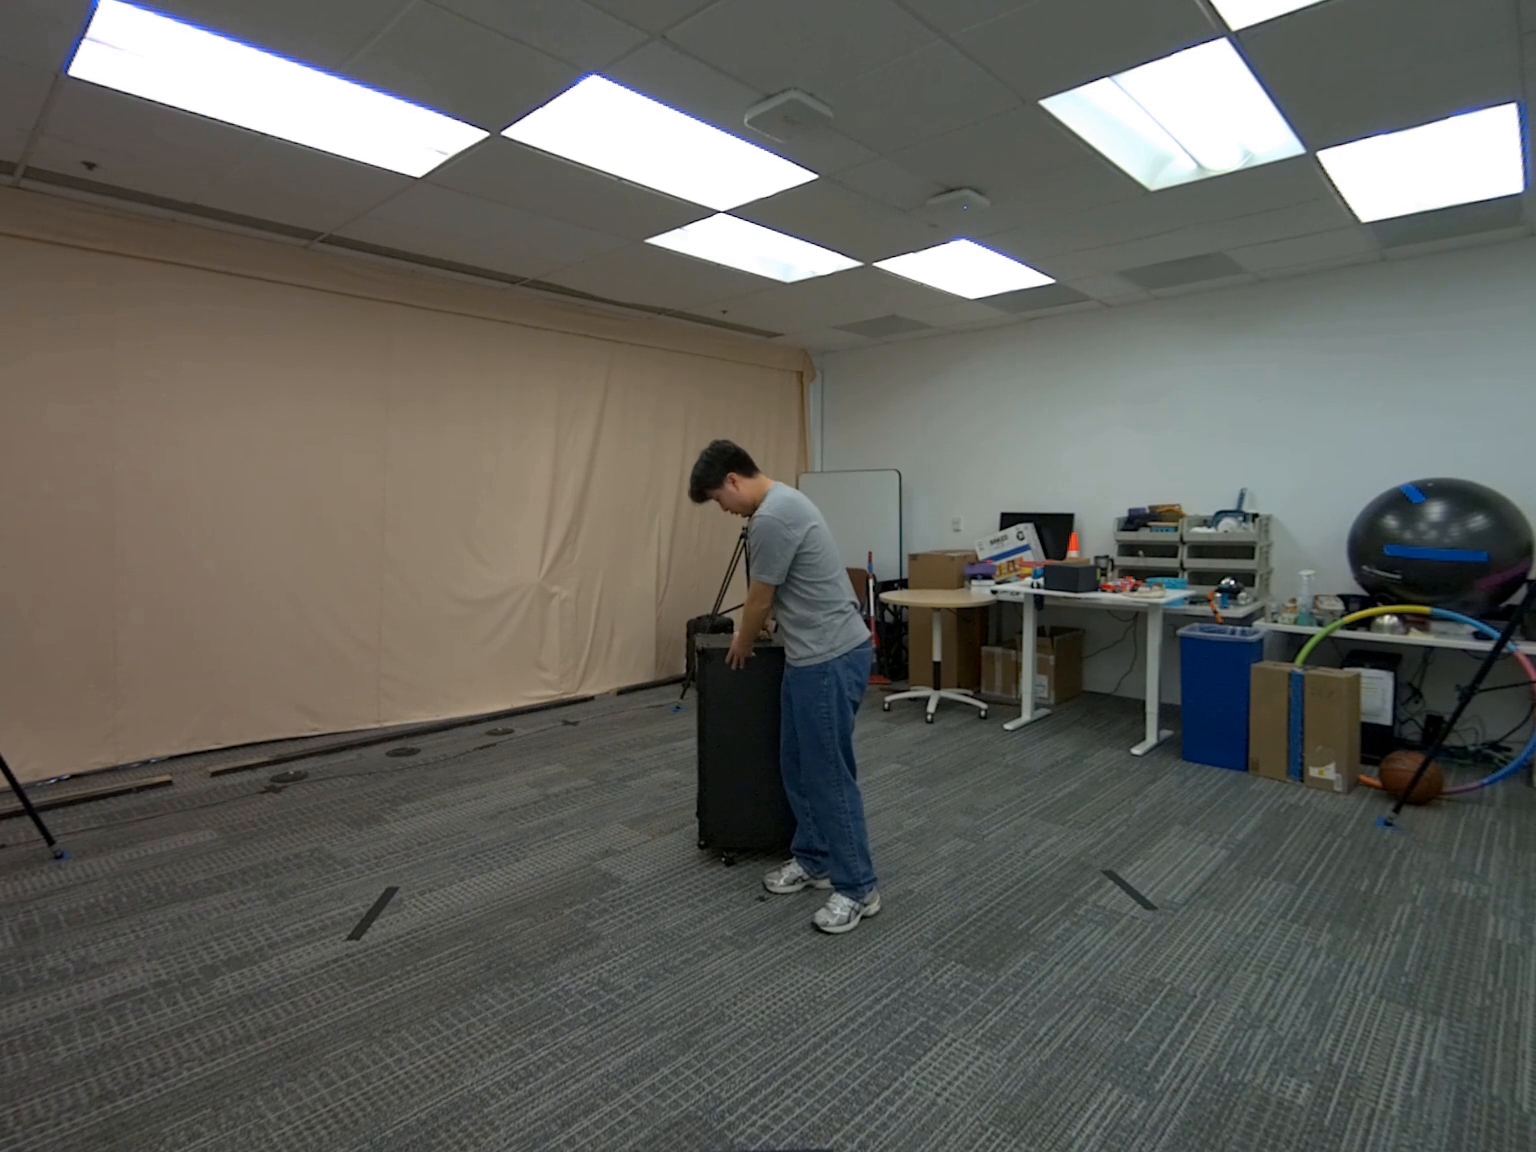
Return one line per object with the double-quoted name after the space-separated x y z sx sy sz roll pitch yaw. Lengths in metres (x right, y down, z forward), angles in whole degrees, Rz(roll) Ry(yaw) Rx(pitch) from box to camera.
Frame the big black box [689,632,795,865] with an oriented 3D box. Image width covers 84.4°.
-0.043 0.622 3.419 0.520 0.860 0.398 0 3 -3 "big black box"
